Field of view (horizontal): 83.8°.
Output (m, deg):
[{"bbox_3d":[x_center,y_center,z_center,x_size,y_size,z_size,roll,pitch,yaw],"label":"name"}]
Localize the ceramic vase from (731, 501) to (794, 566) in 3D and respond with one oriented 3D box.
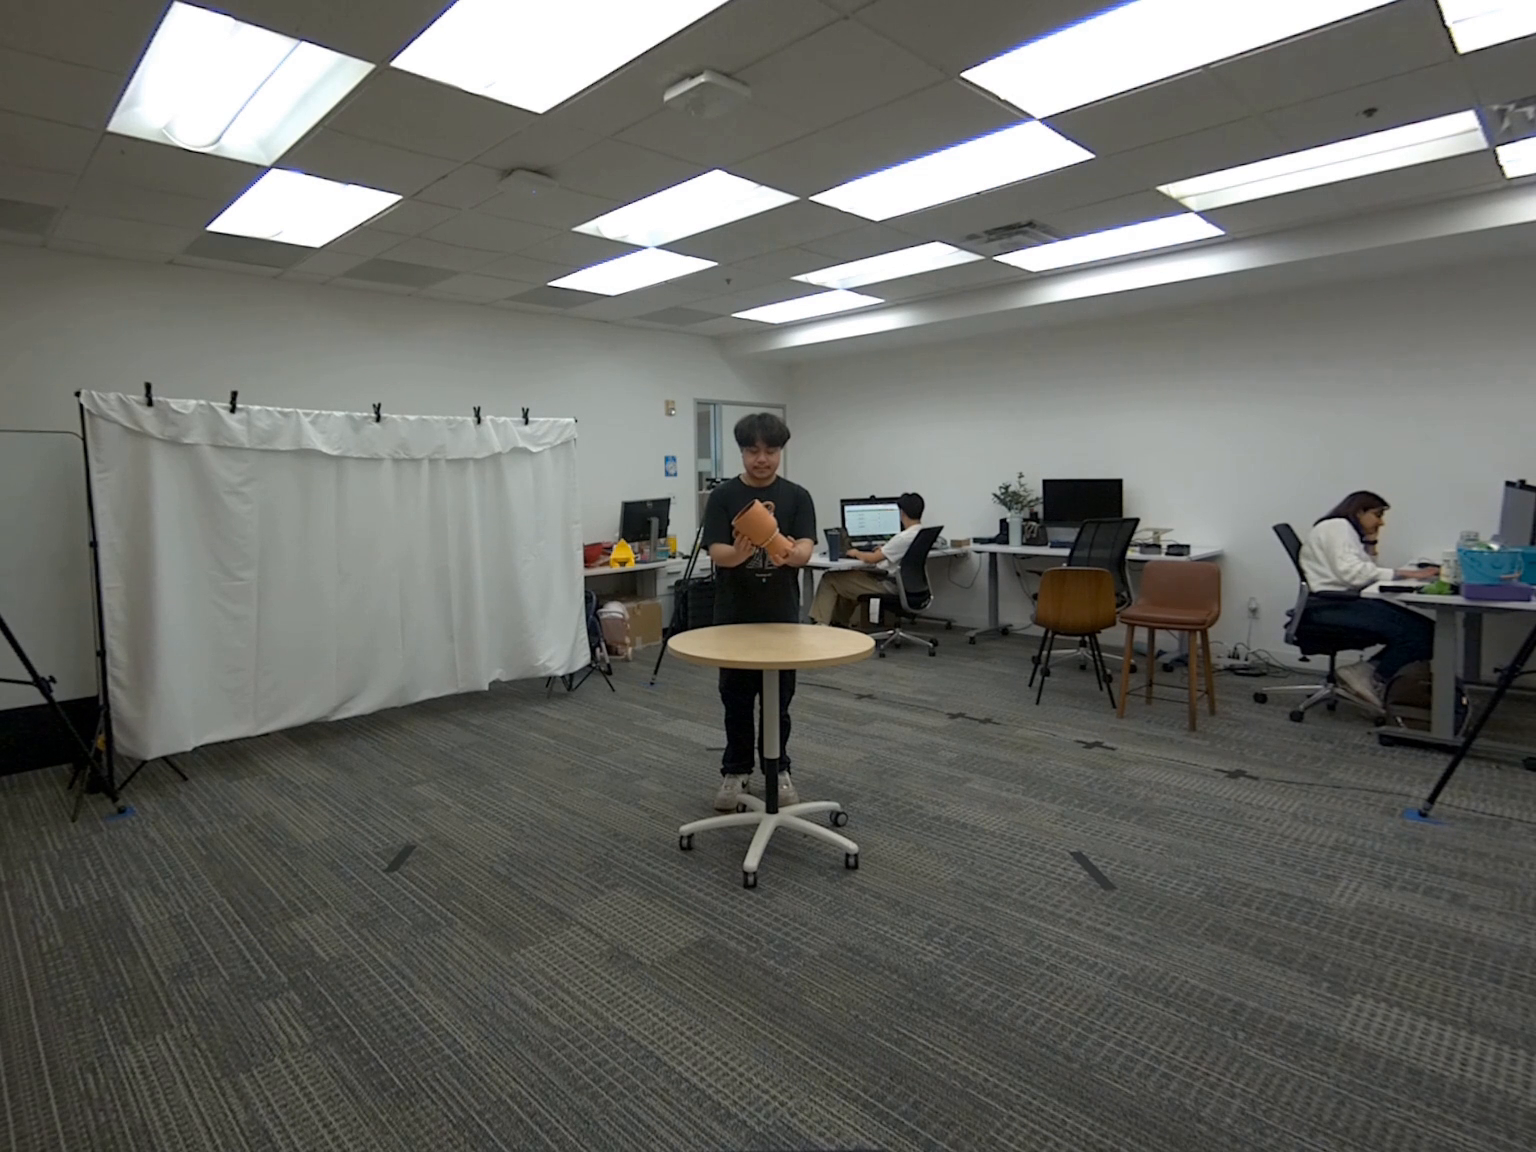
[{"bbox_3d":[-0.015,-0.165,3.234,0.135,0.217,0.160,-52,12,-34],"label":"ceramic vase"}]
